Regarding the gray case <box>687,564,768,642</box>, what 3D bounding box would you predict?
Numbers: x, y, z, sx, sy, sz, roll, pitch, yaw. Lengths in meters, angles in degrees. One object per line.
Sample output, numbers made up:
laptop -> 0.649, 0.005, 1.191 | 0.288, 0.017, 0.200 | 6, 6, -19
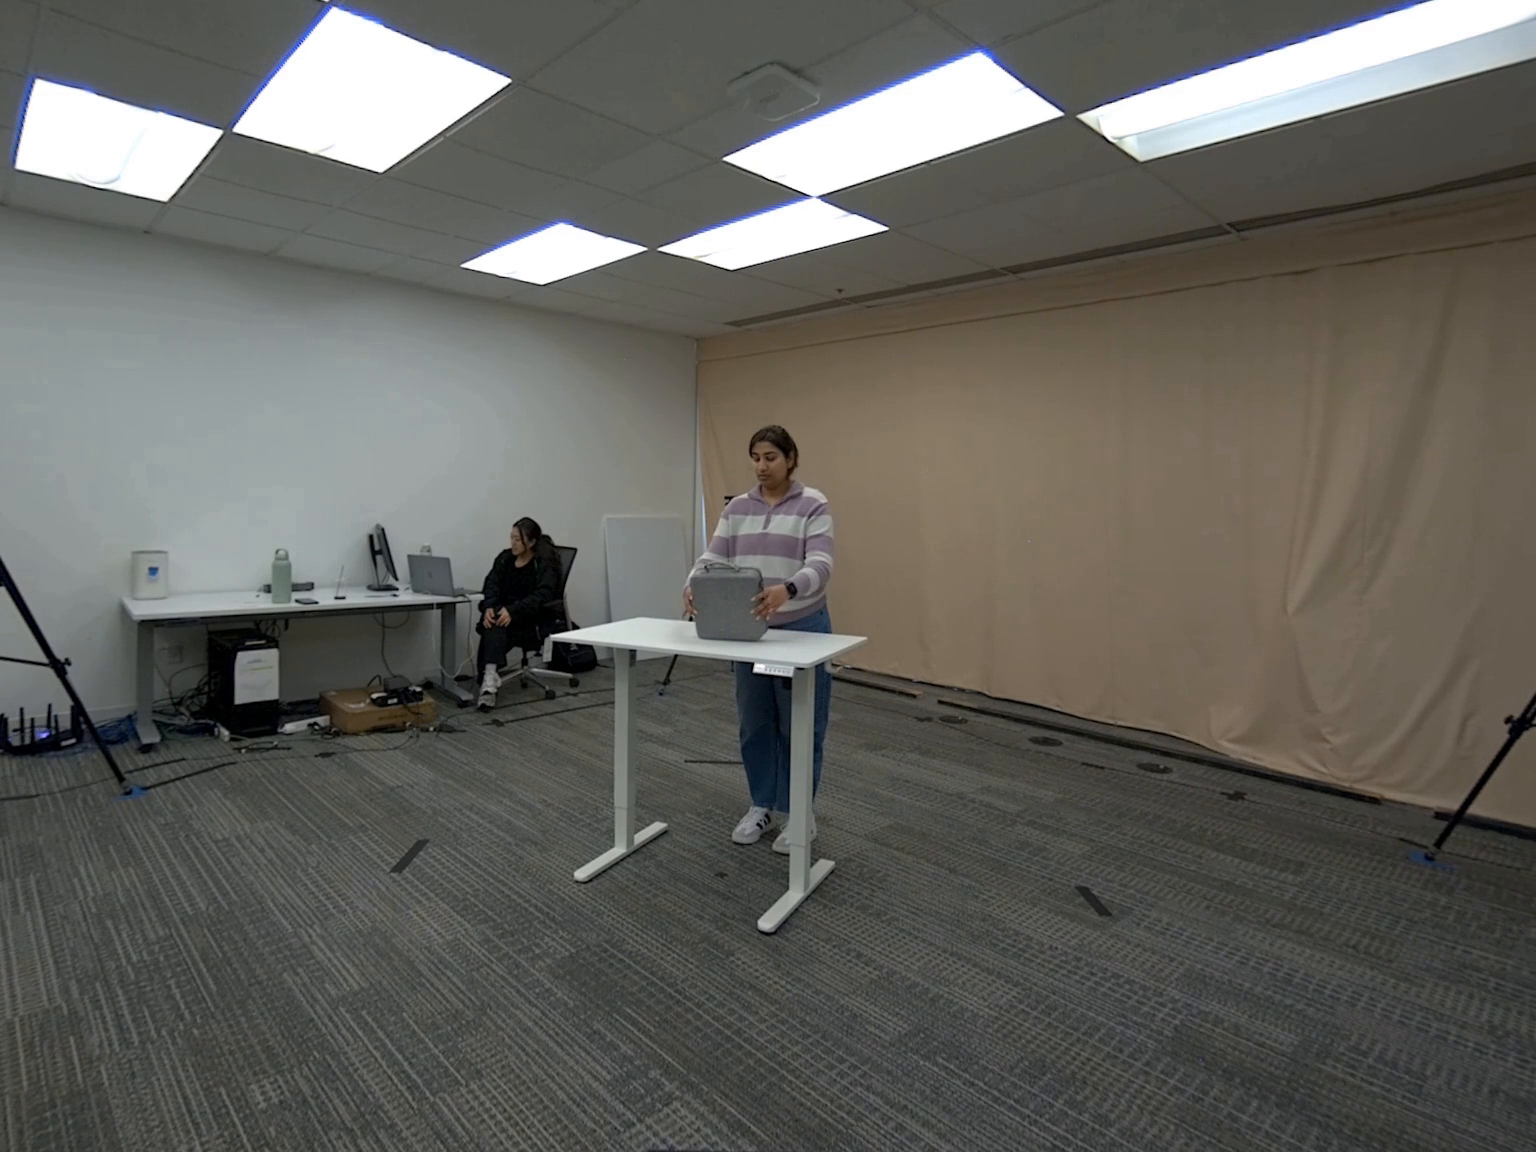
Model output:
gray case -> -0.148, 0.097, 2.983 | 0.260, 0.257, 0.104 | -1, 17, 18
